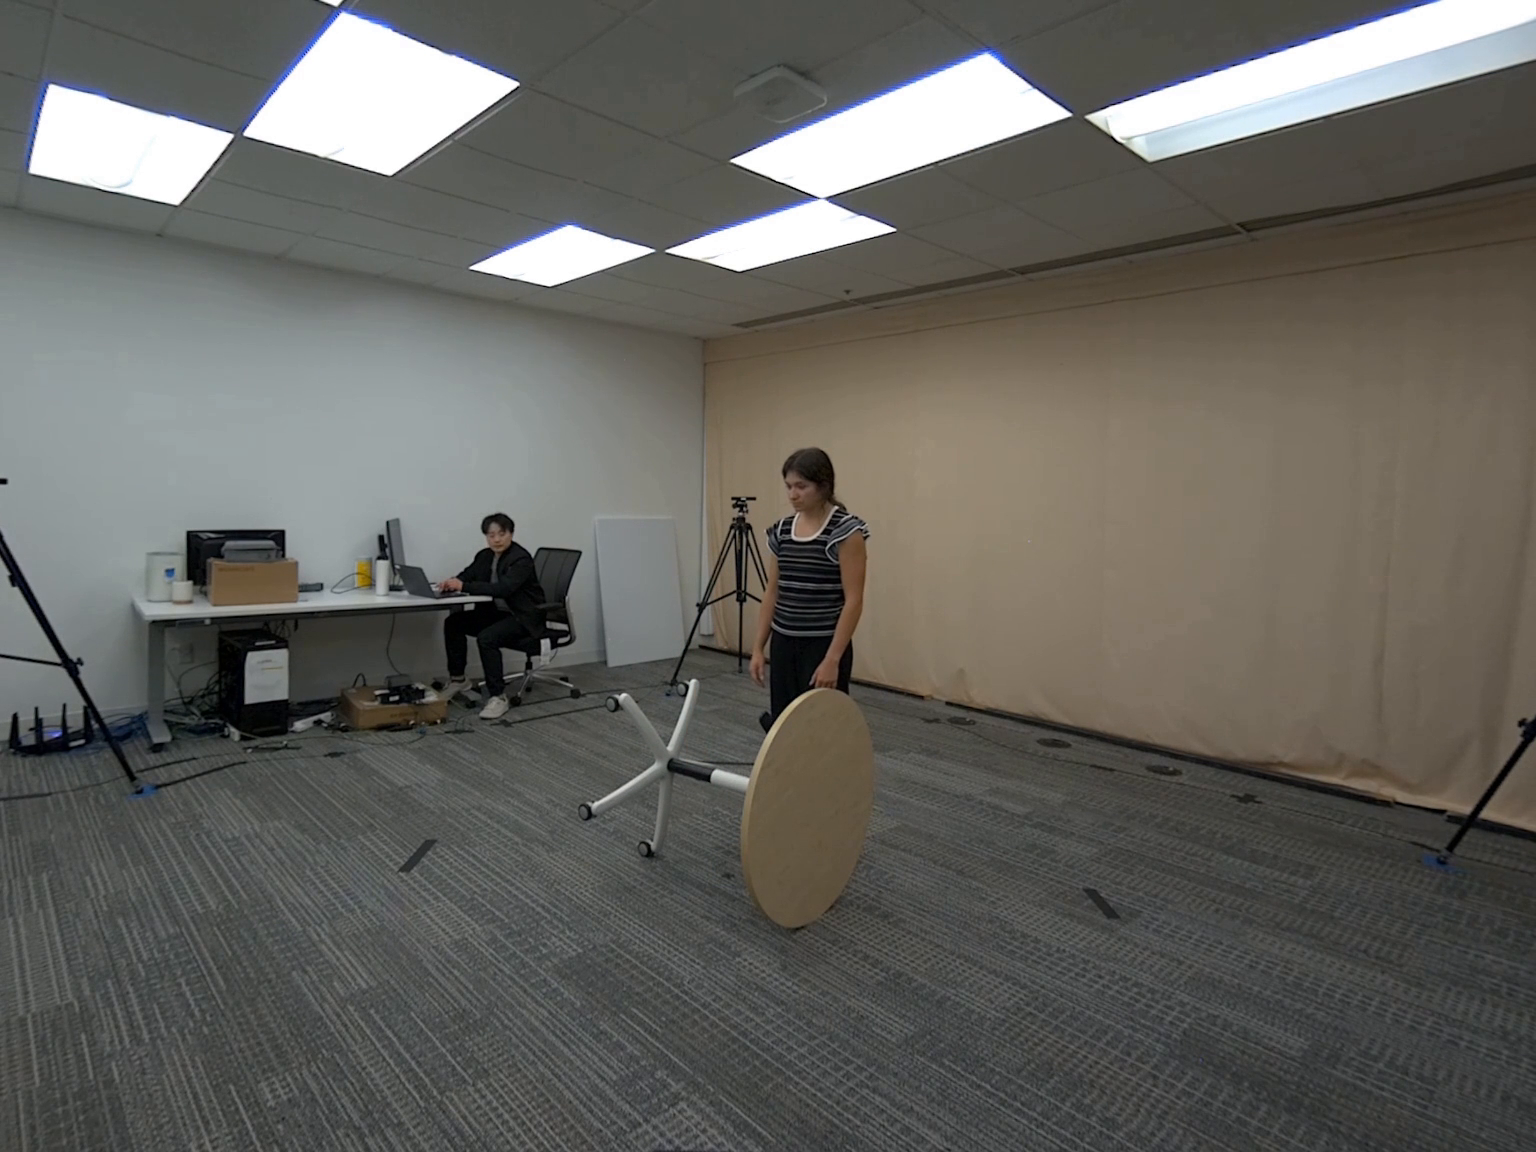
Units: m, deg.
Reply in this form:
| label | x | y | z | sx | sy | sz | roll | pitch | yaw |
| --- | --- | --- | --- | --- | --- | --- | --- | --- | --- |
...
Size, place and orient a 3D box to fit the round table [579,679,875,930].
| label | x | y | z | sx | sy | sz | roll | pitch | yaw |
| --- | --- | --- | --- | --- | --- | --- | --- | --- | --- |
| round table | -0.165 | 0.743 | 3.018 | 0.813 | 0.762 | 0.747 | 3 | 4 | 37 |
